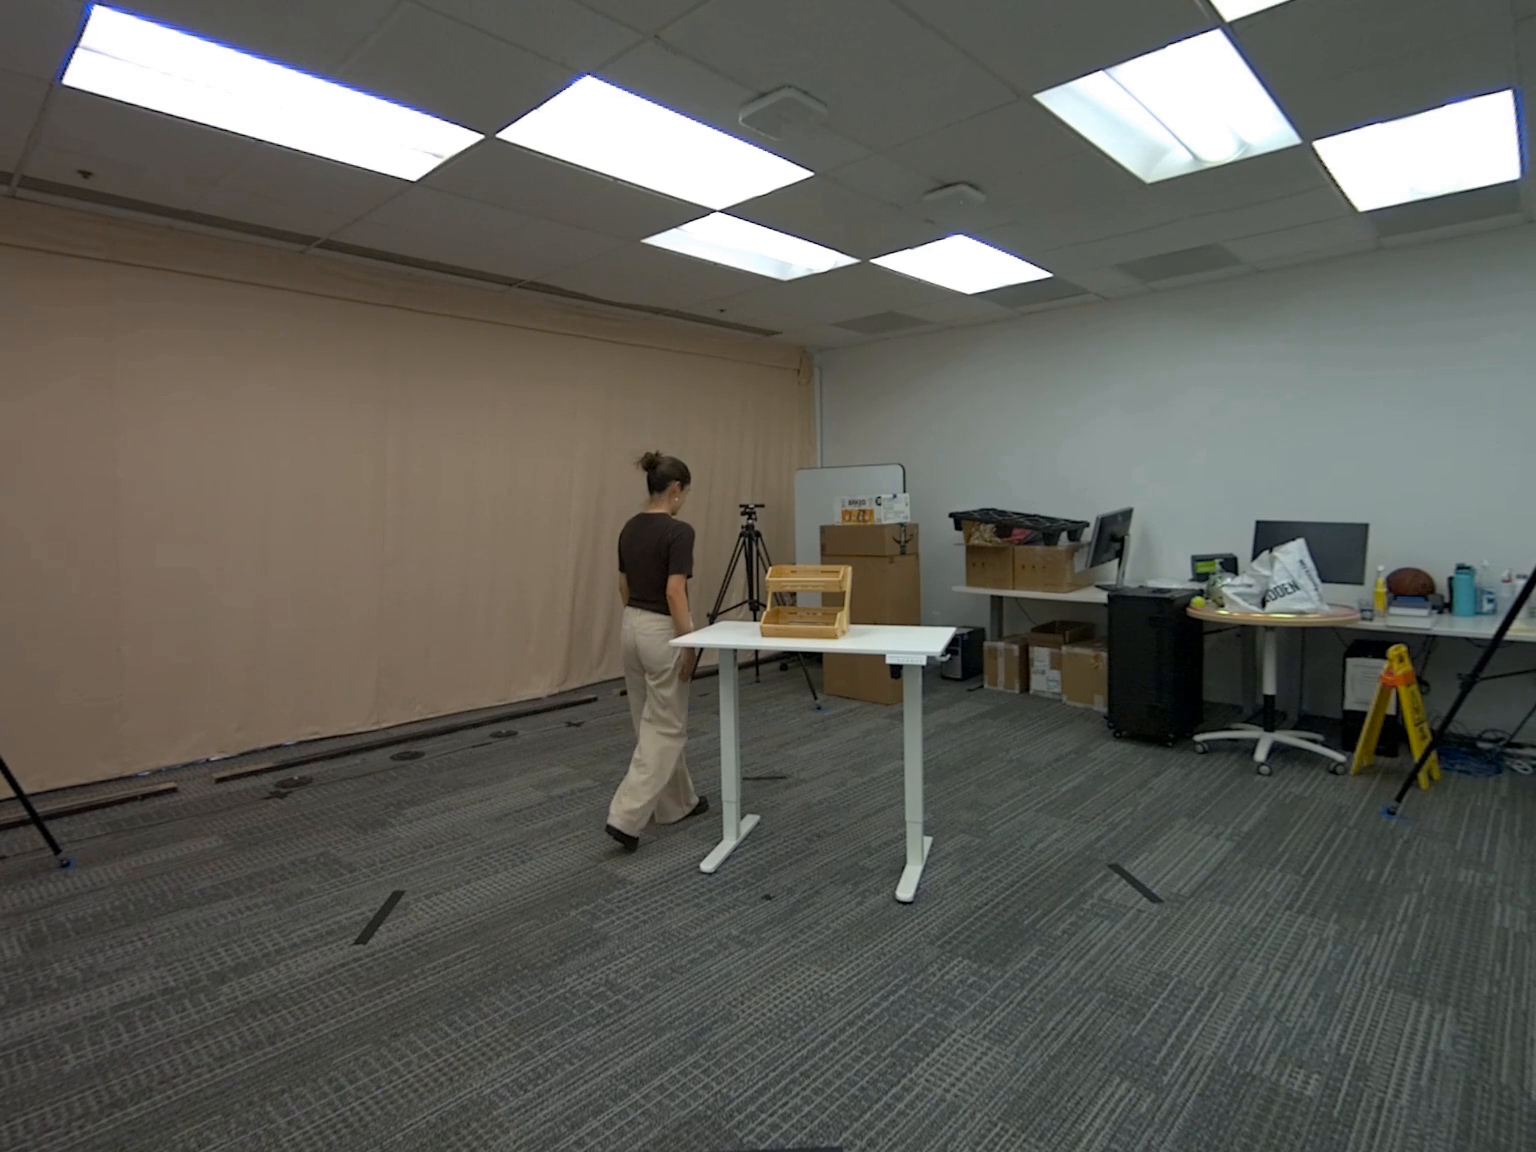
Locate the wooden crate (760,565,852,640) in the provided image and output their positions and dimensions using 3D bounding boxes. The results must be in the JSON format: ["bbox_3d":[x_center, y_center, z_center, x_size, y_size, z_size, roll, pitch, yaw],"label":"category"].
[{"bbox_3d":[0.156,0.094,3.315,0.331,0.273,0.297,0,3,18],"label":"wooden crate"}]
